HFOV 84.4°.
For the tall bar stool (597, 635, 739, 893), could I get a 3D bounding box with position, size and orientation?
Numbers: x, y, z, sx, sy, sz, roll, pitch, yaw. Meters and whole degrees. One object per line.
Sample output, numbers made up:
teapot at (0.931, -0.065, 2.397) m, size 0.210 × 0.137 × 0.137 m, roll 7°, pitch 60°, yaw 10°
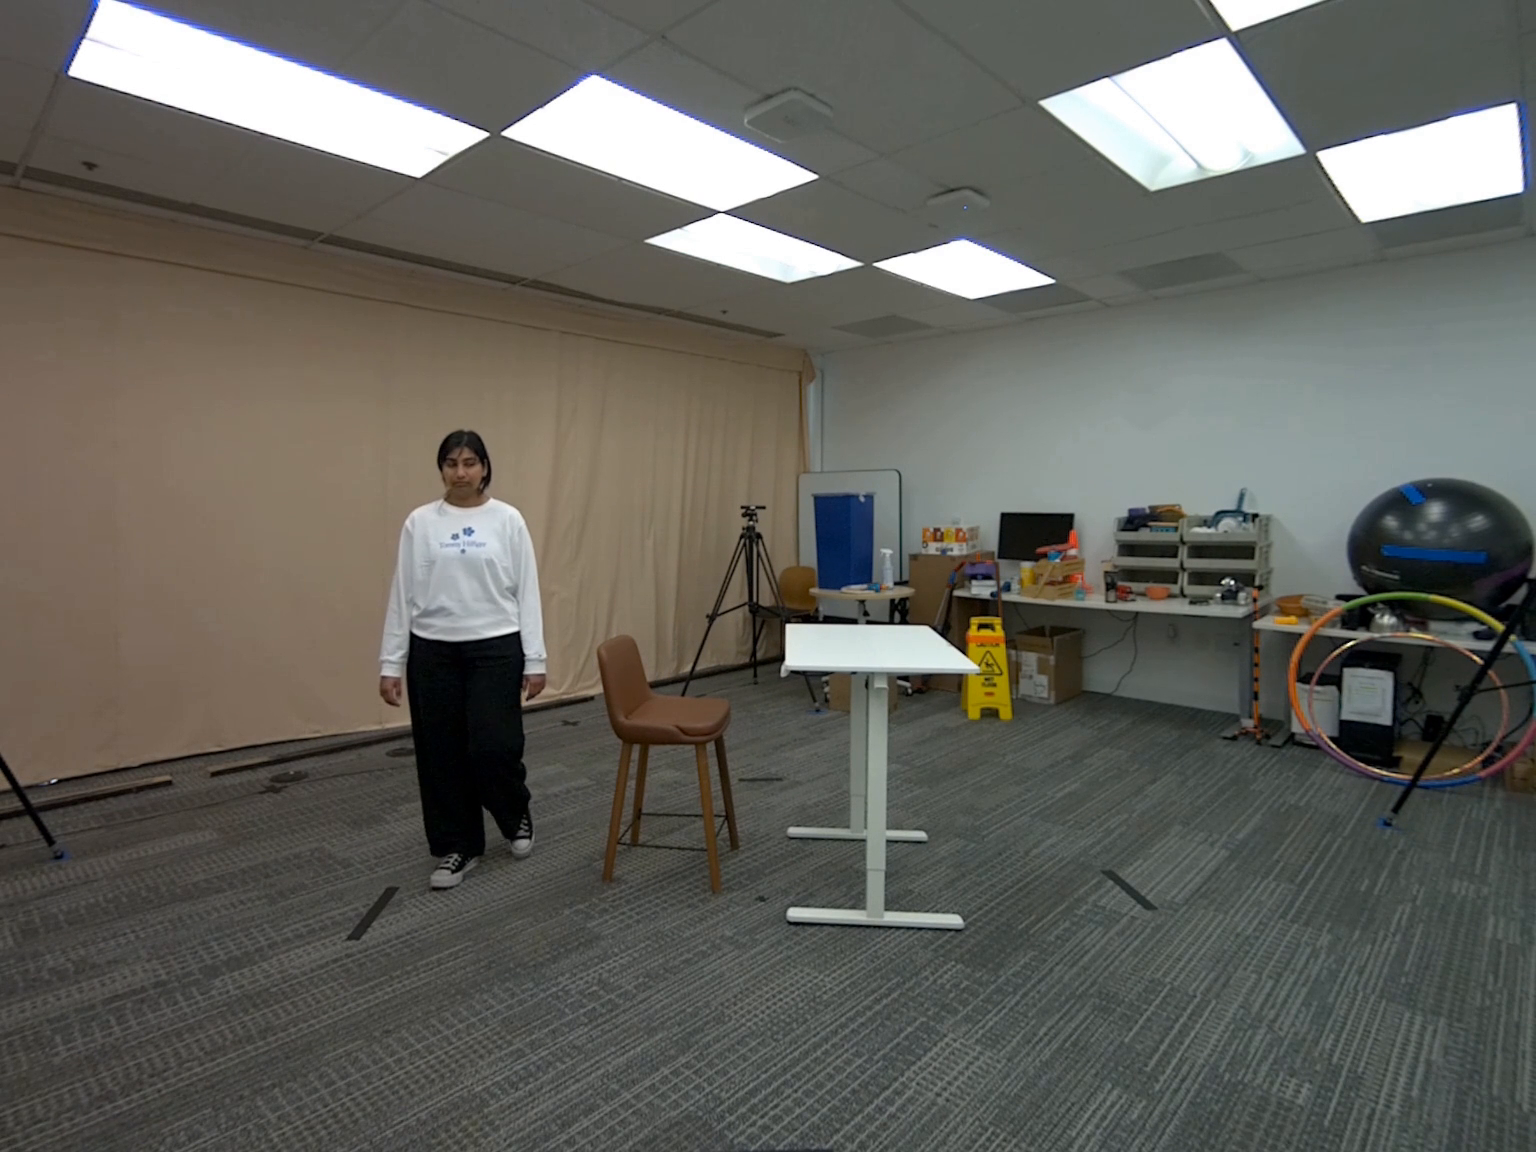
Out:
tall bar stool at (-0.379, 0.687, 3.240) m, size 0.473 × 0.888 × 0.452 m, roll -2°, pitch 3°, yaw 11°
